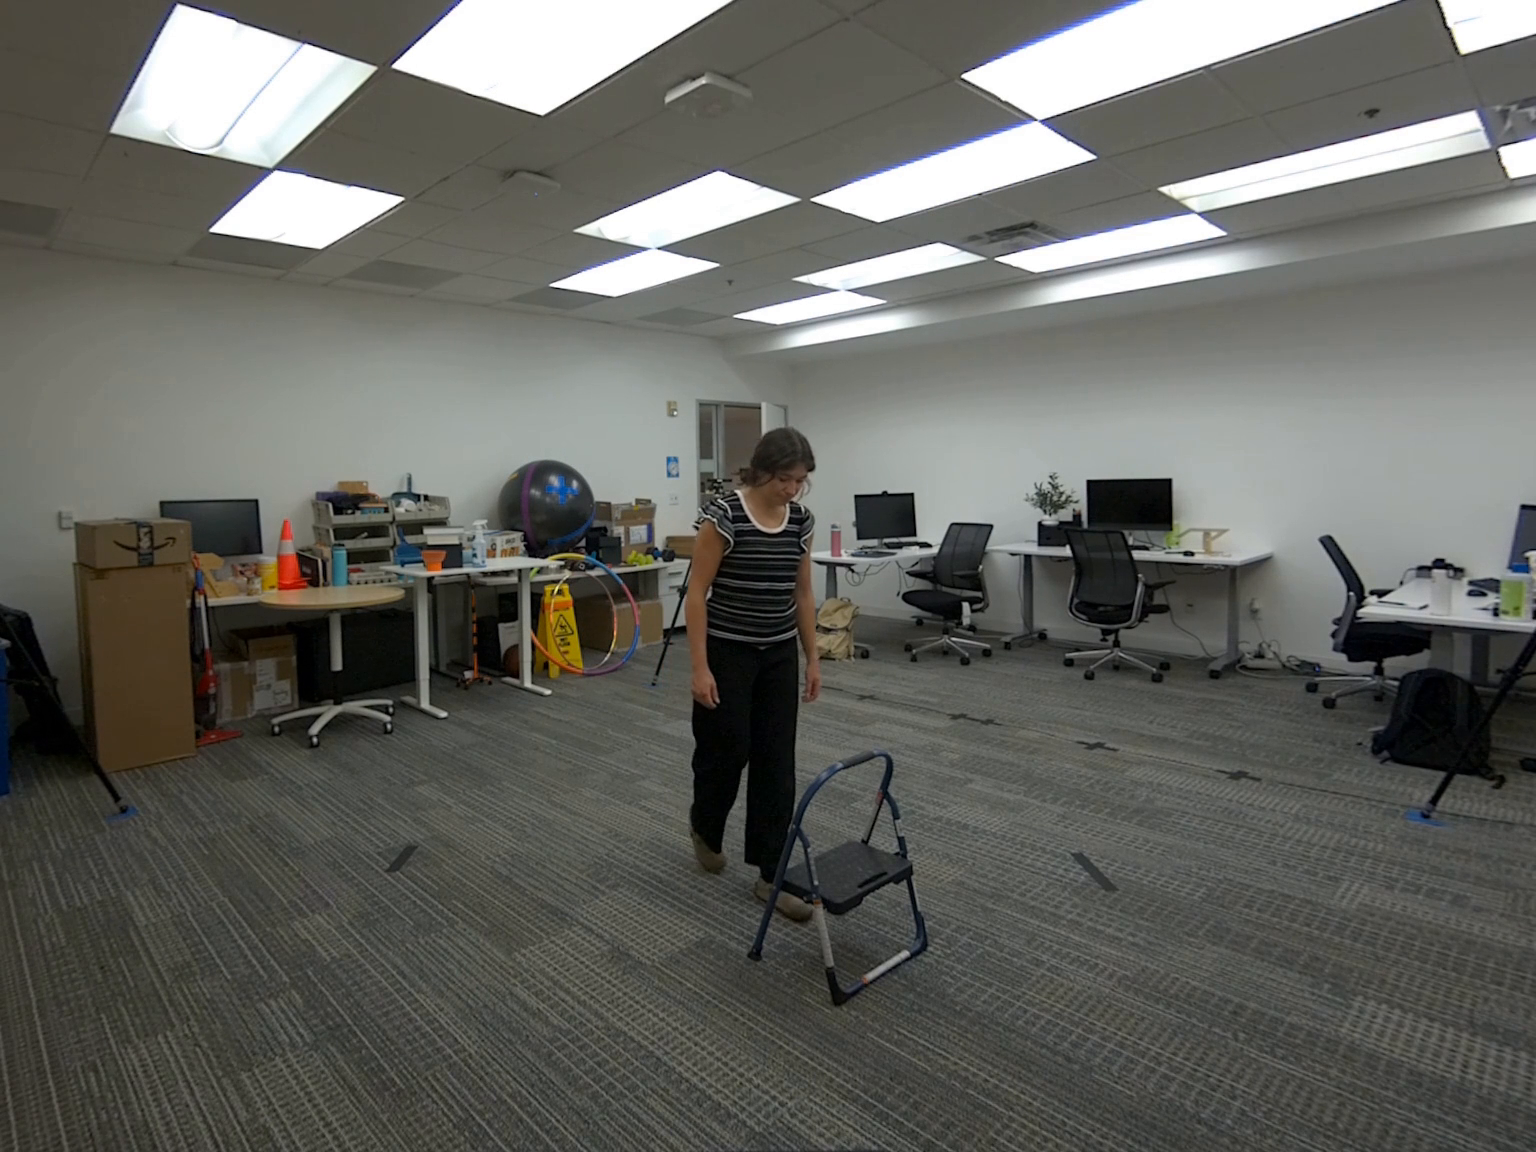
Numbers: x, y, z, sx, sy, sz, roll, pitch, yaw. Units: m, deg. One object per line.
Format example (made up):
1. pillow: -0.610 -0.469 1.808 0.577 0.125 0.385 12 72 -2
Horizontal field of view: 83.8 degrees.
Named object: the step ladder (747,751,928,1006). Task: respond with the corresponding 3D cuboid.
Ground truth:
1. step ladder: 0.210 0.813 2.495 0.419 0.604 0.360 -6 6 -44
